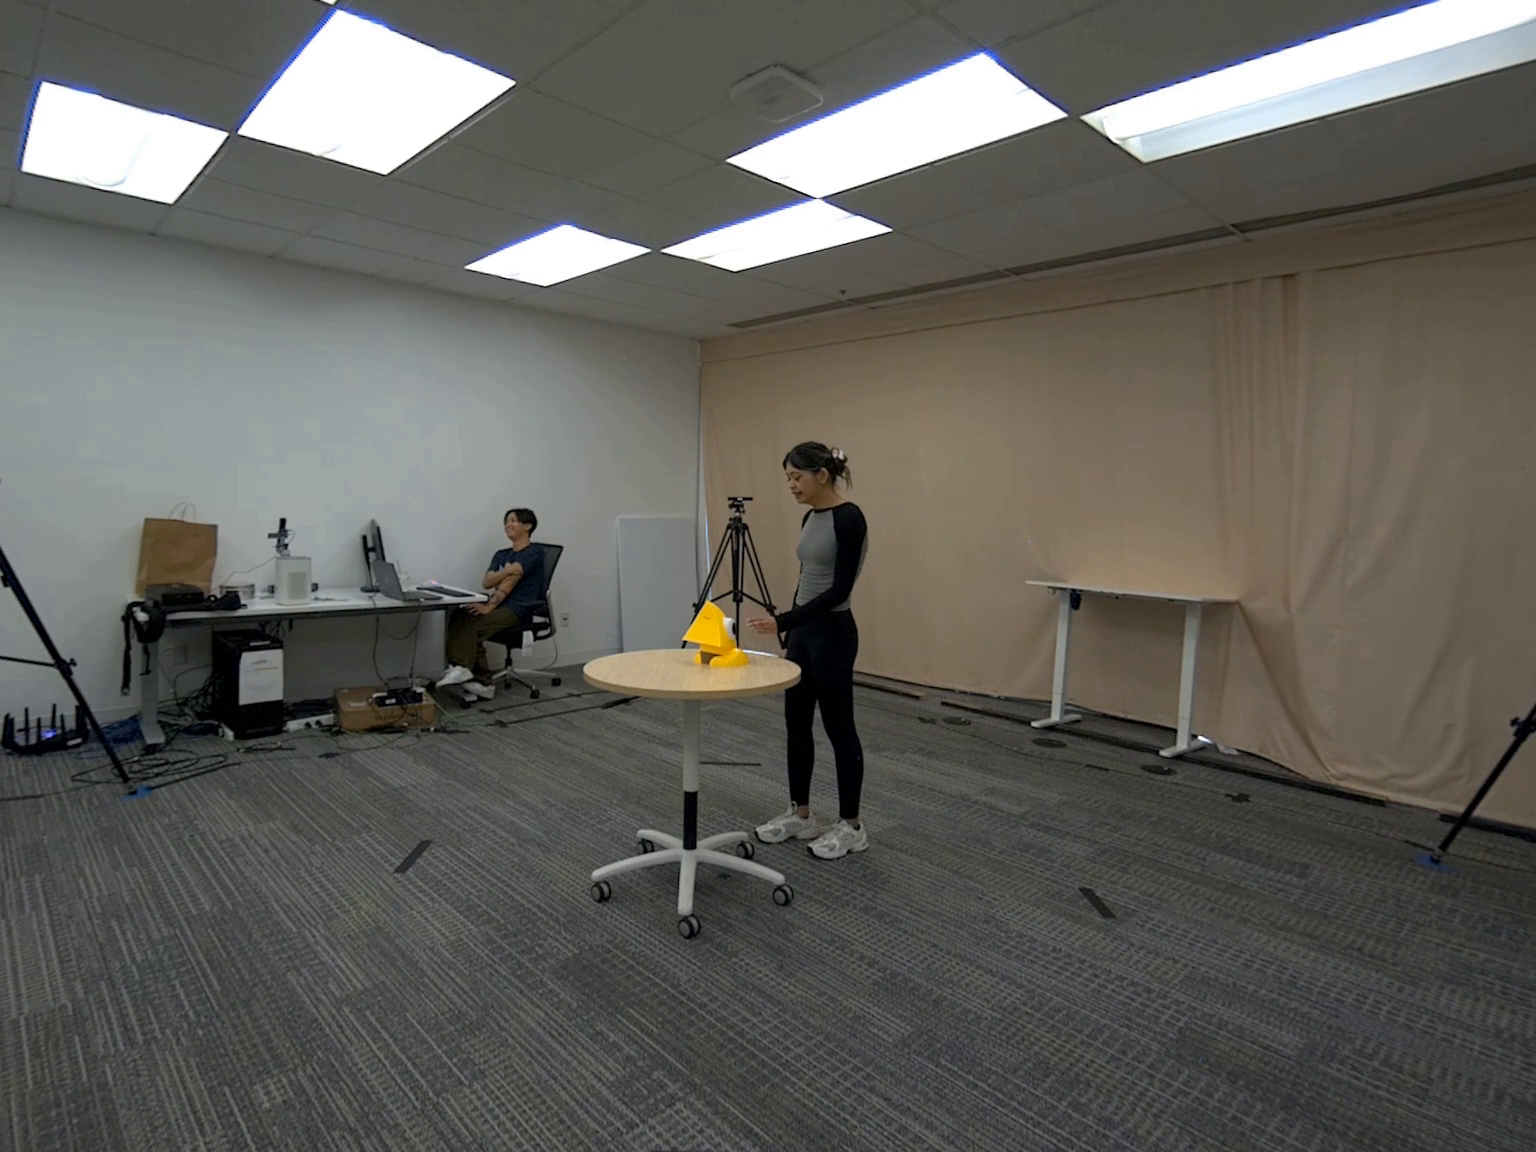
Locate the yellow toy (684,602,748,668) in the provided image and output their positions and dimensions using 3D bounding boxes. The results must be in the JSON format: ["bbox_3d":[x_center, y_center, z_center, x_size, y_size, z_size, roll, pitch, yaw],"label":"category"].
[{"bbox_3d":[-0.183,0.202,3.084,0.189,0.230,0.210,-3,5,-45],"label":"yellow toy"}]
